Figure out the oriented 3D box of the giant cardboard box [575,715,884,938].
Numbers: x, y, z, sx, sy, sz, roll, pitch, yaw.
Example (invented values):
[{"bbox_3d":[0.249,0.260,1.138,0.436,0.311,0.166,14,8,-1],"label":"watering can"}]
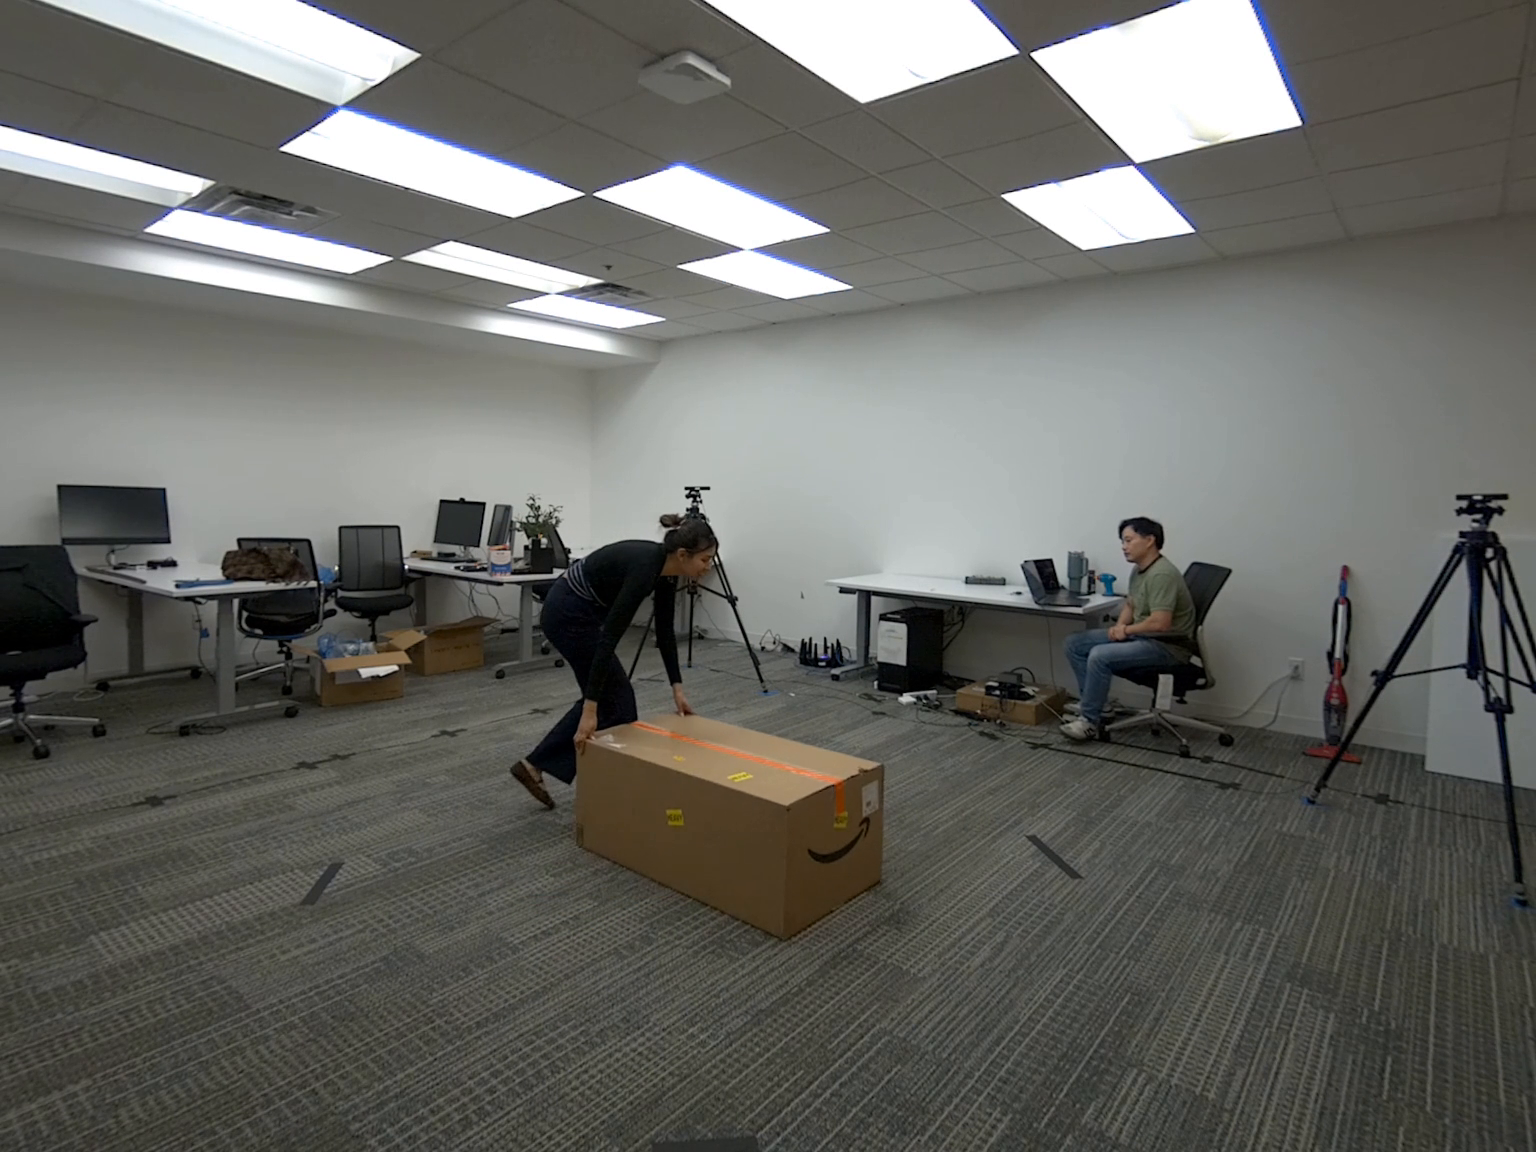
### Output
[{"bbox_3d":[-0.175,0.849,3.142,1.061,0.424,0.561,5,7,40],"label":"giant cardboard box"}]
